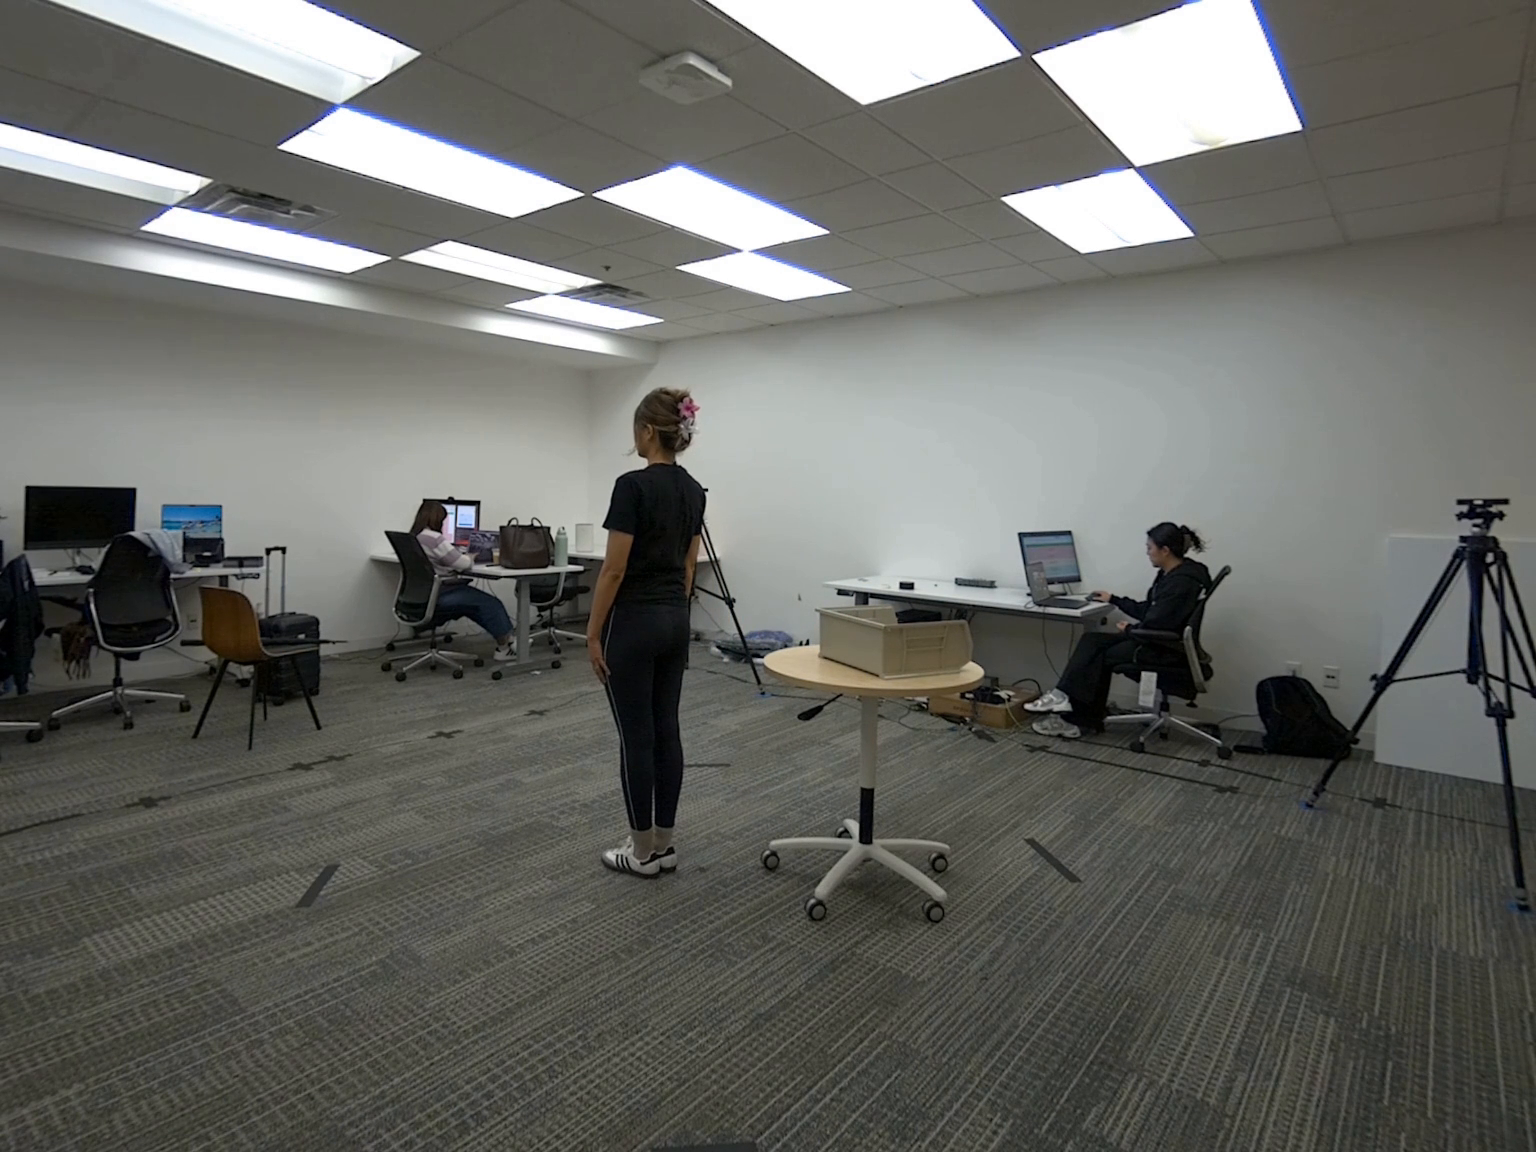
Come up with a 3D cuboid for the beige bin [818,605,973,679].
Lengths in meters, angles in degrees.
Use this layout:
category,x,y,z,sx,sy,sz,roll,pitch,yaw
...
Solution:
category,x,y,z,sx,sy,sz,roll,pitch,yaw
beige bin,0.429,0.222,3.024,0.368,0.188,0.435,-3,7,-27
